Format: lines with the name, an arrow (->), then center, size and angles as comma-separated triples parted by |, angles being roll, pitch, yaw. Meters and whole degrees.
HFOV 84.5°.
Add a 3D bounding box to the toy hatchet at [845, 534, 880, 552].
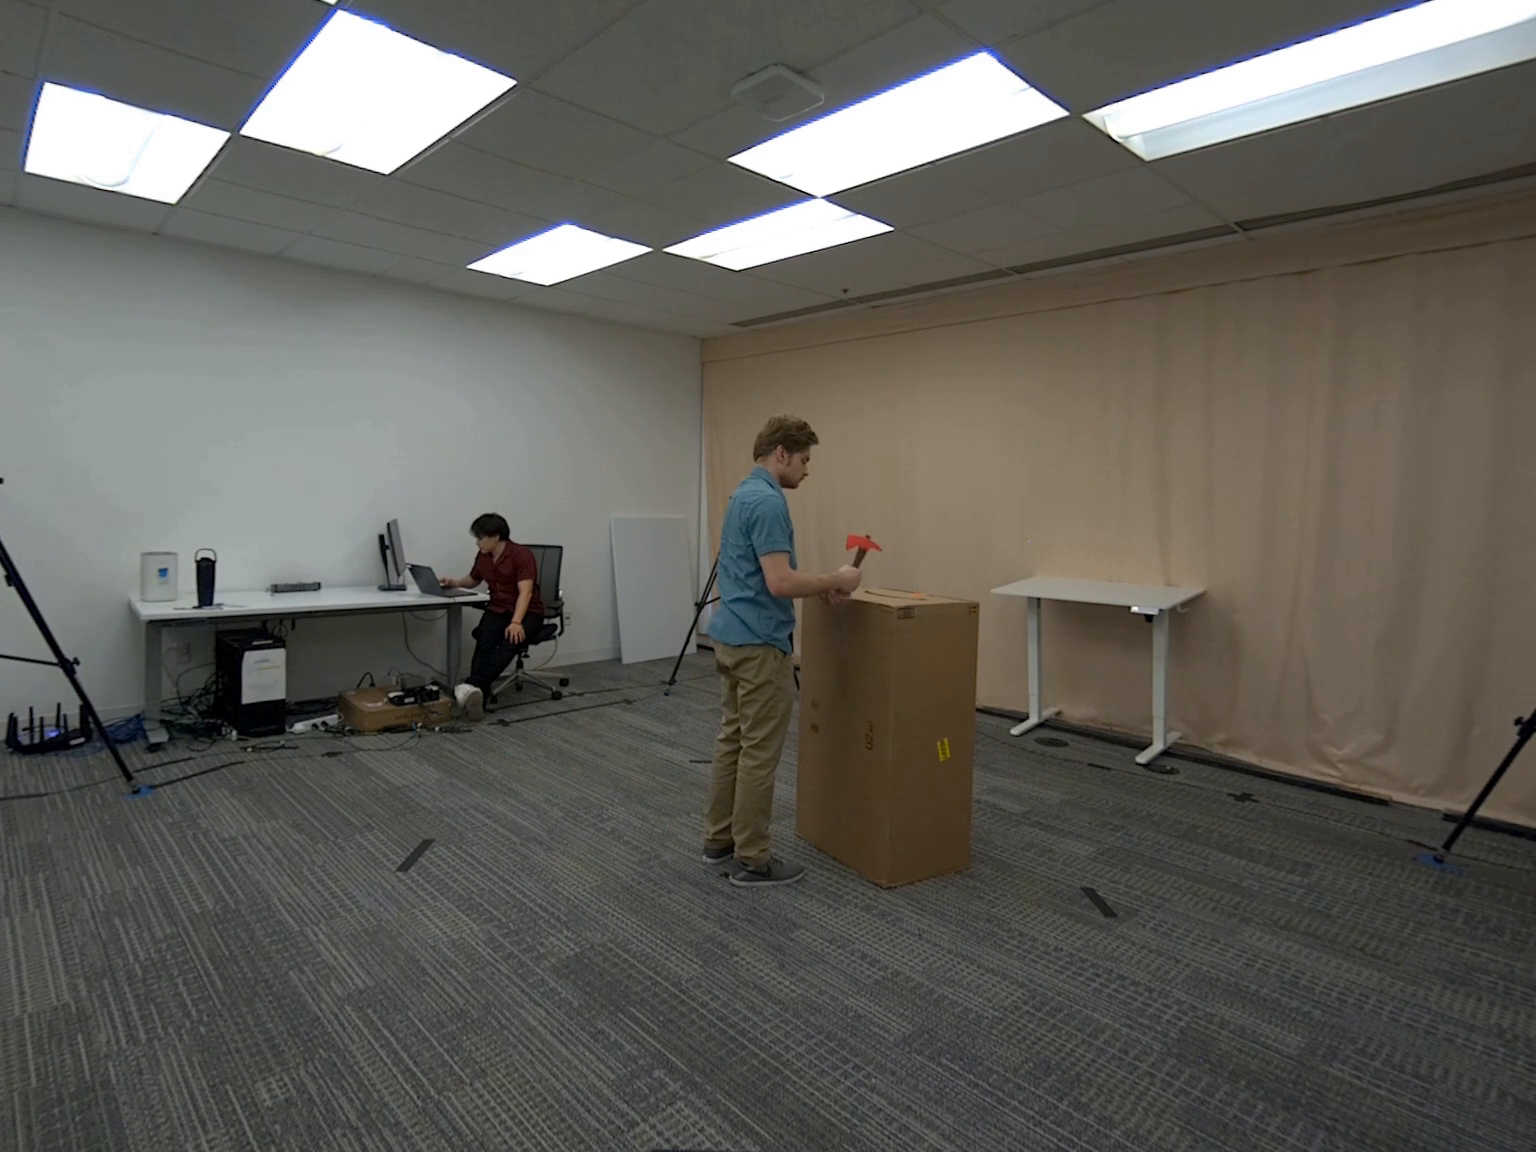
toy hatchet -> 0.260, -0.048, 3.067 | 0.131, 0.270, 0.029 | 45, -2, -2
